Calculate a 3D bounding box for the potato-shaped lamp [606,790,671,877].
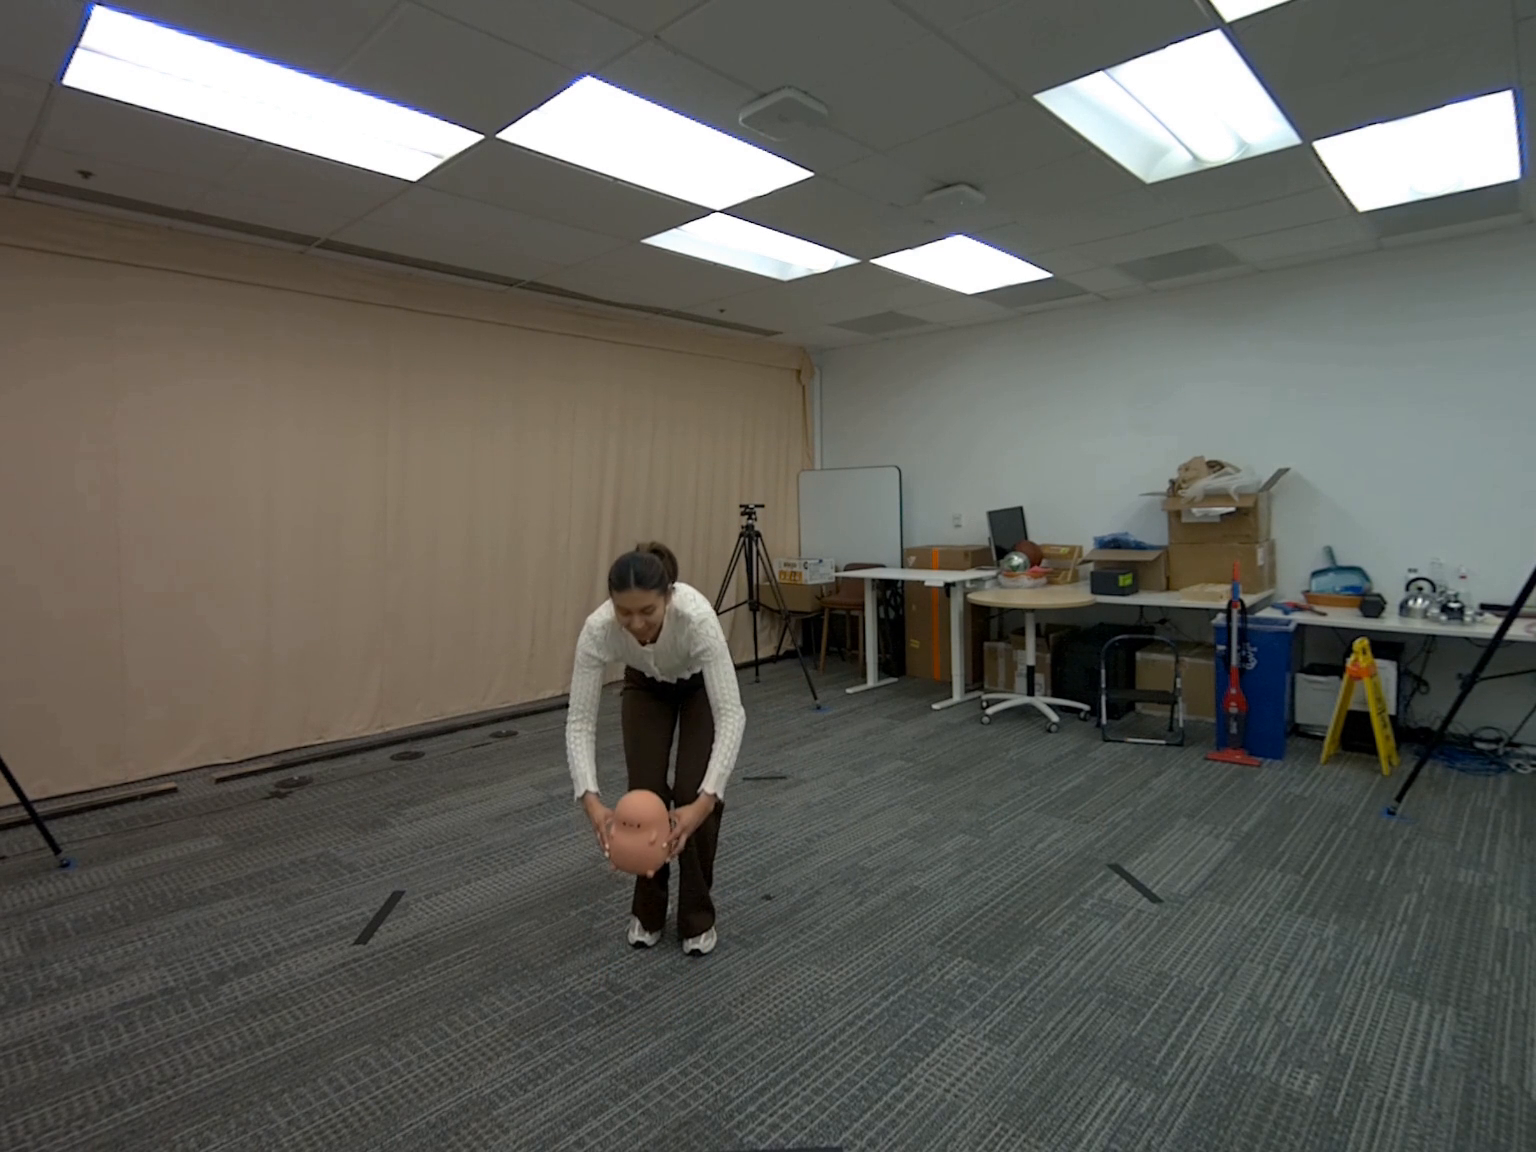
[{"bbox_3d":[-0.332,0.662,2.229,0.168,0.197,0.169,6,13,17],"label":"potato-shaped lamp"}]
